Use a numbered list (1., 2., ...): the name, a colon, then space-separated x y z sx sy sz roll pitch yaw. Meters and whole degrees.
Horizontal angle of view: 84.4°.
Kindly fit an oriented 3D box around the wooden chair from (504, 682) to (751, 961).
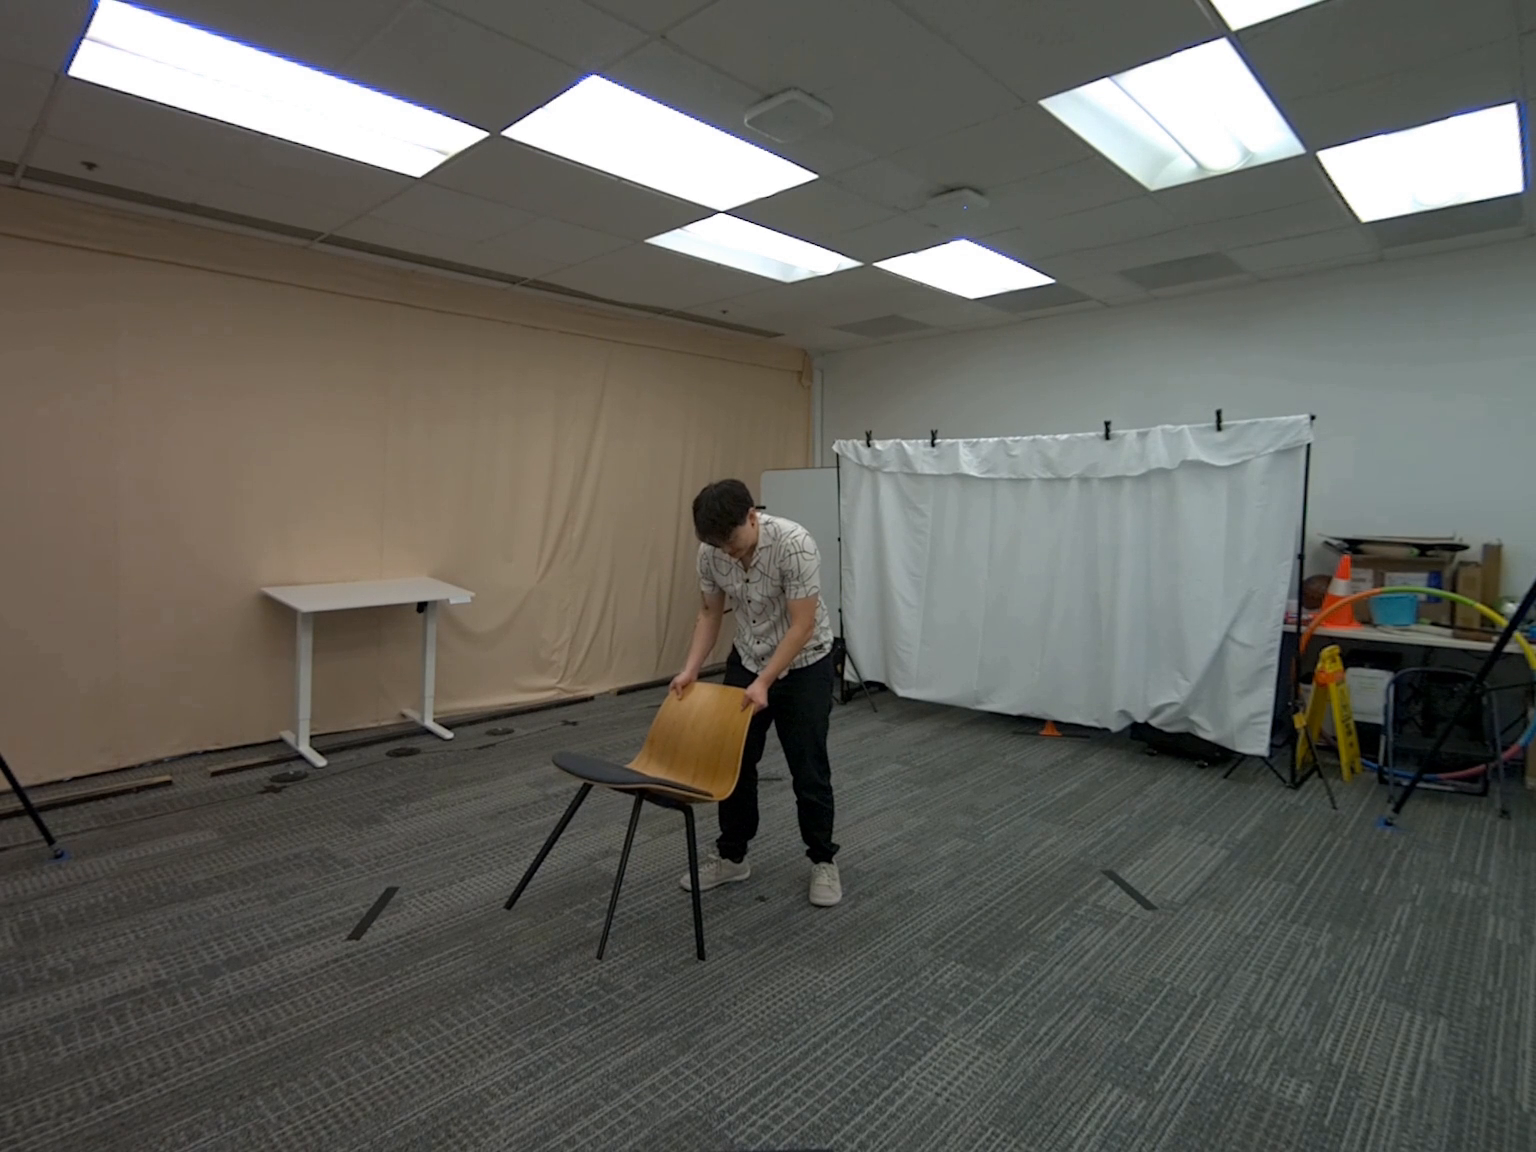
1. wooden chair: -0.397 0.688 2.658 0.494 0.881 0.504 3 -22 41
